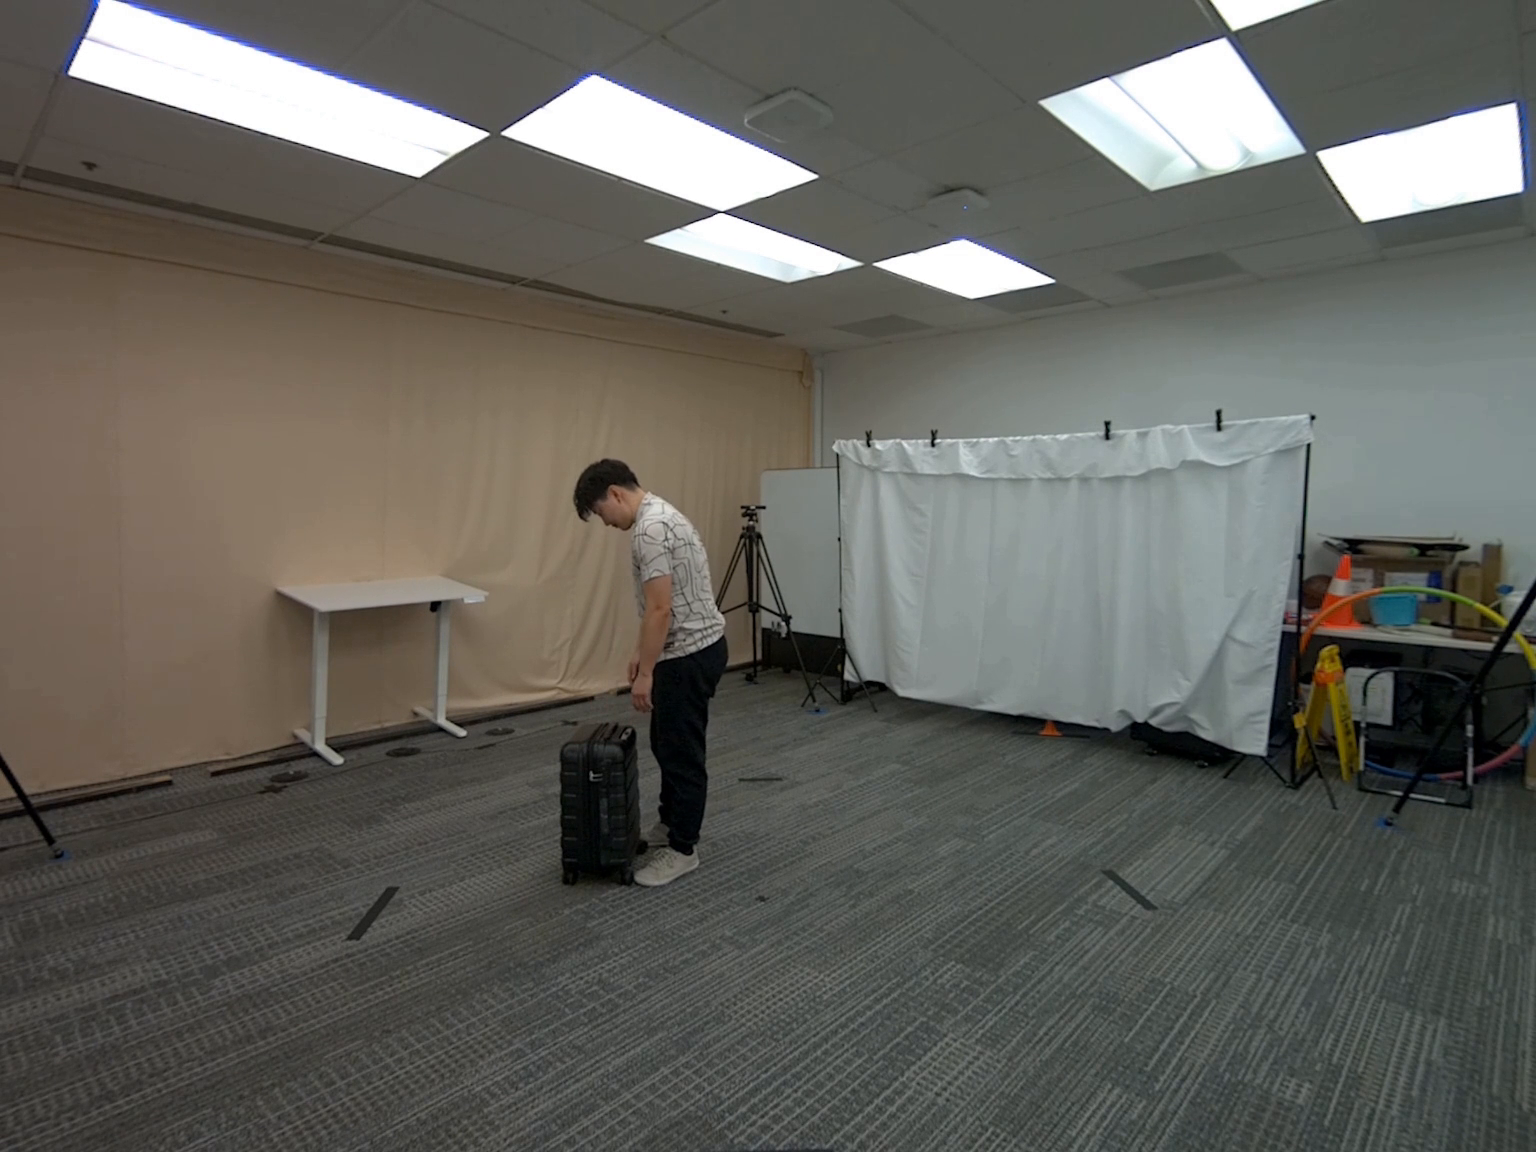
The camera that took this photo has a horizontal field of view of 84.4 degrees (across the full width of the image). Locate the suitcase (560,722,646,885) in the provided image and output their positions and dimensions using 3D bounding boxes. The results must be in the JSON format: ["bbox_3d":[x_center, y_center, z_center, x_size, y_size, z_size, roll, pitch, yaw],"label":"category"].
[{"bbox_3d":[-0.641,0.854,3.223,0.249,0.548,0.375,-1,4,1],"label":"suitcase"}]
